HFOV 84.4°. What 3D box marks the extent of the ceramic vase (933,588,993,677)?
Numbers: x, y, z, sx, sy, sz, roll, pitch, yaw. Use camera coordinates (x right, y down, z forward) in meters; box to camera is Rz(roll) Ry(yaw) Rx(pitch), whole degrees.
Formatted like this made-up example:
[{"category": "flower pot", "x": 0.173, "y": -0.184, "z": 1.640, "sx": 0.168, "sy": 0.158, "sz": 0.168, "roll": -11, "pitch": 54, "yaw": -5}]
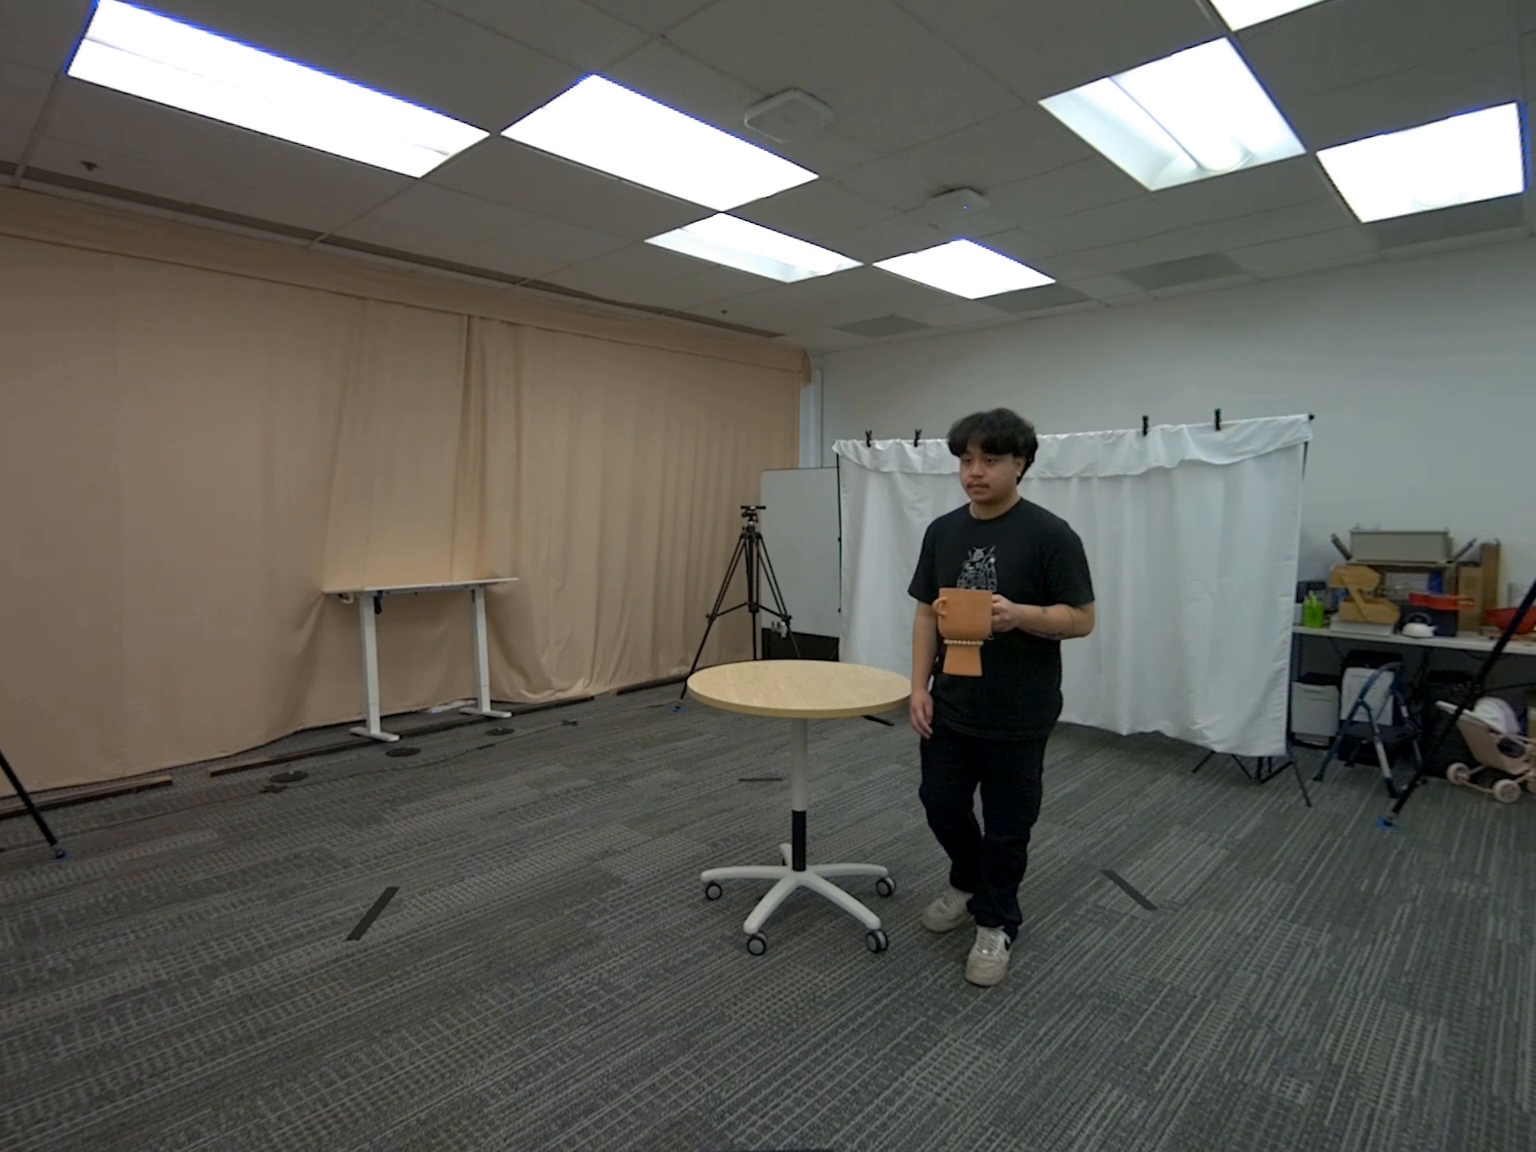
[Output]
[{"category": "ceramic vase", "x": 0.529, "y": 0.150, "z": 2.195, "sx": 0.162, "sy": 0.220, "sz": 0.132, "roll": 2, "pitch": -3, "yaw": 17}]
